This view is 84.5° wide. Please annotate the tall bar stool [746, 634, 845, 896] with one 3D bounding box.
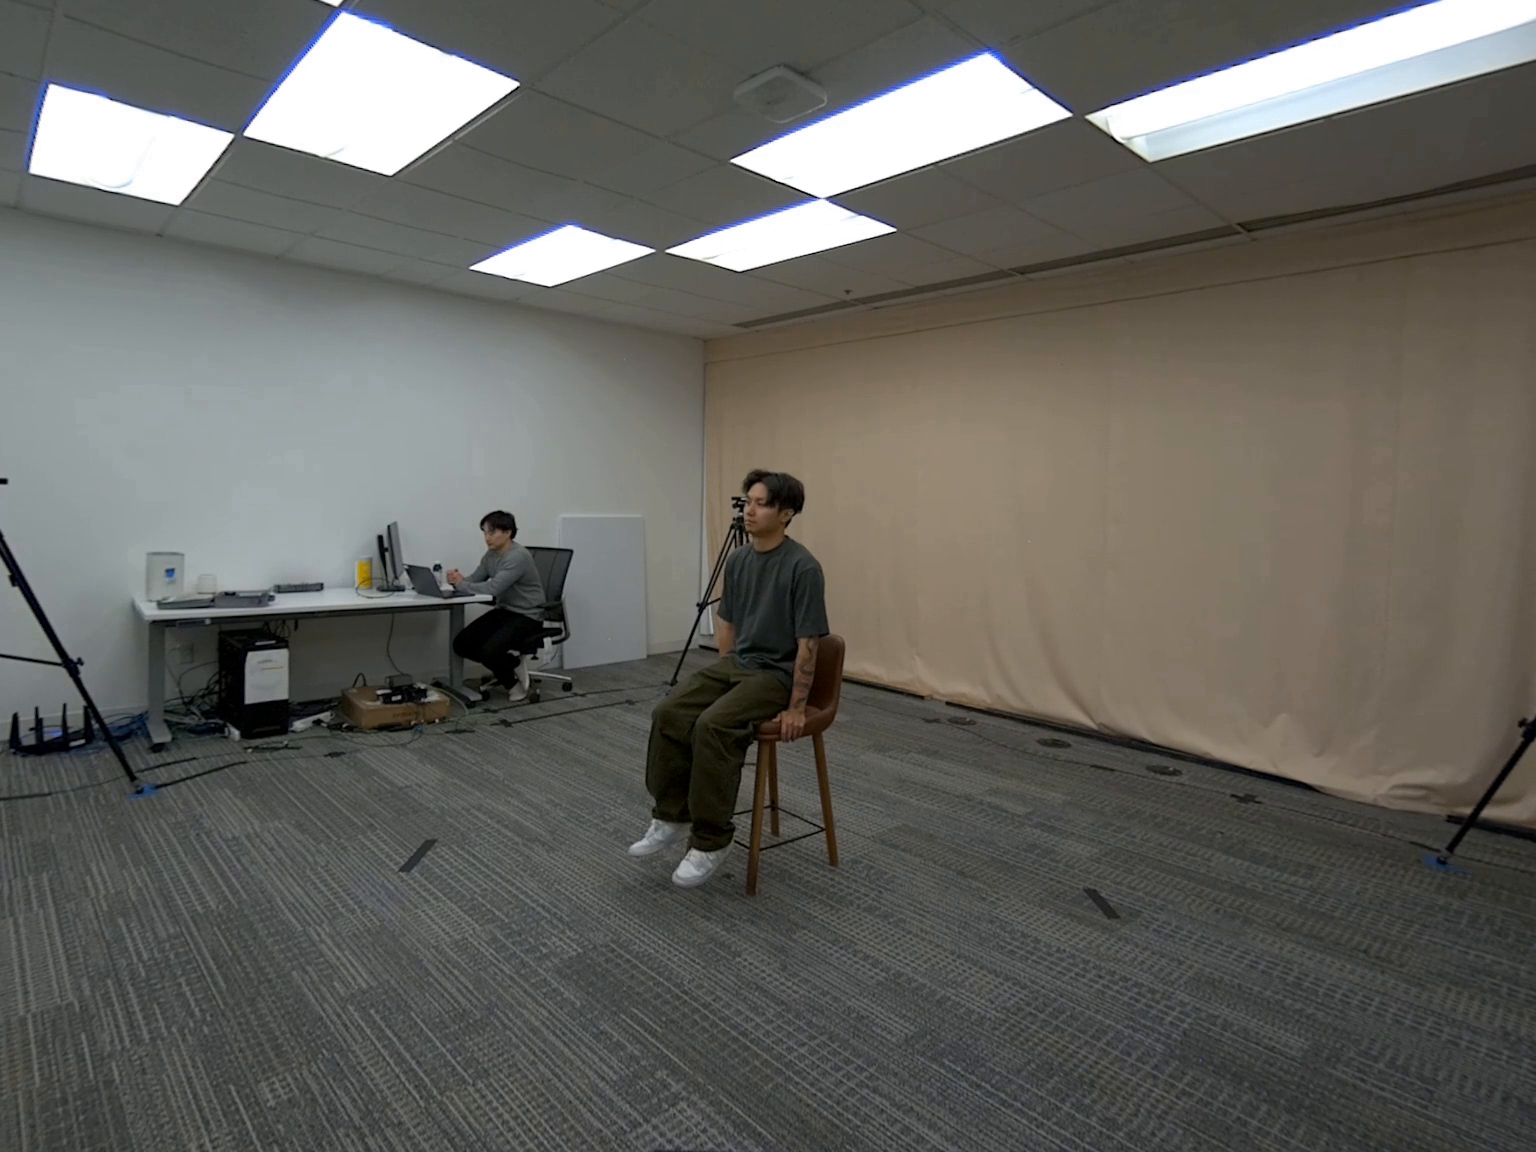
[{"bbox_3d":[-0.004,0.664,3.220,0.456,0.889,0.468,1,2,-39],"label":"tall bar stool"}]
